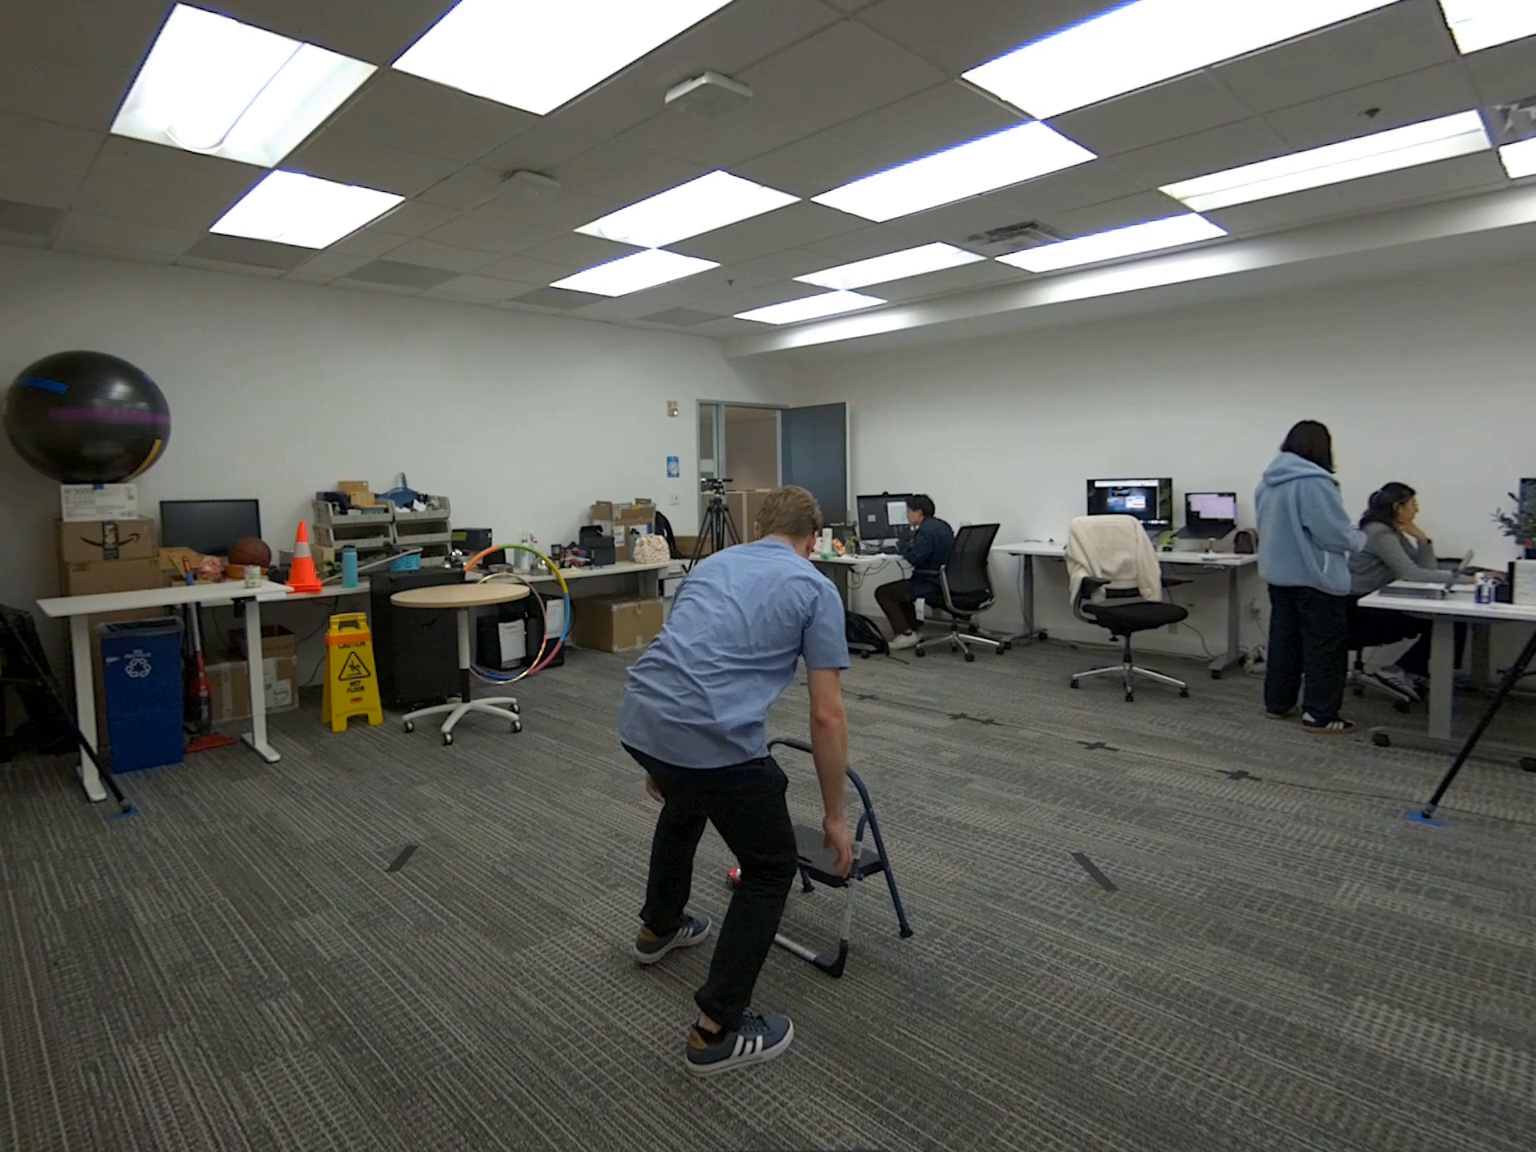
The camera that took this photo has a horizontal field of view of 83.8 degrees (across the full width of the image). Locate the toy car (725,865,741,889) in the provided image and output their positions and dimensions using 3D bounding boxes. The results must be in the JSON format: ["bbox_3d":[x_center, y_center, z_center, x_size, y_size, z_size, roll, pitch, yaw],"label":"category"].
[{"bbox_3d":[-0.022,1.042,2.875,0.127,0.083,0.260,-5,-3,-39],"label":"toy car"}]
